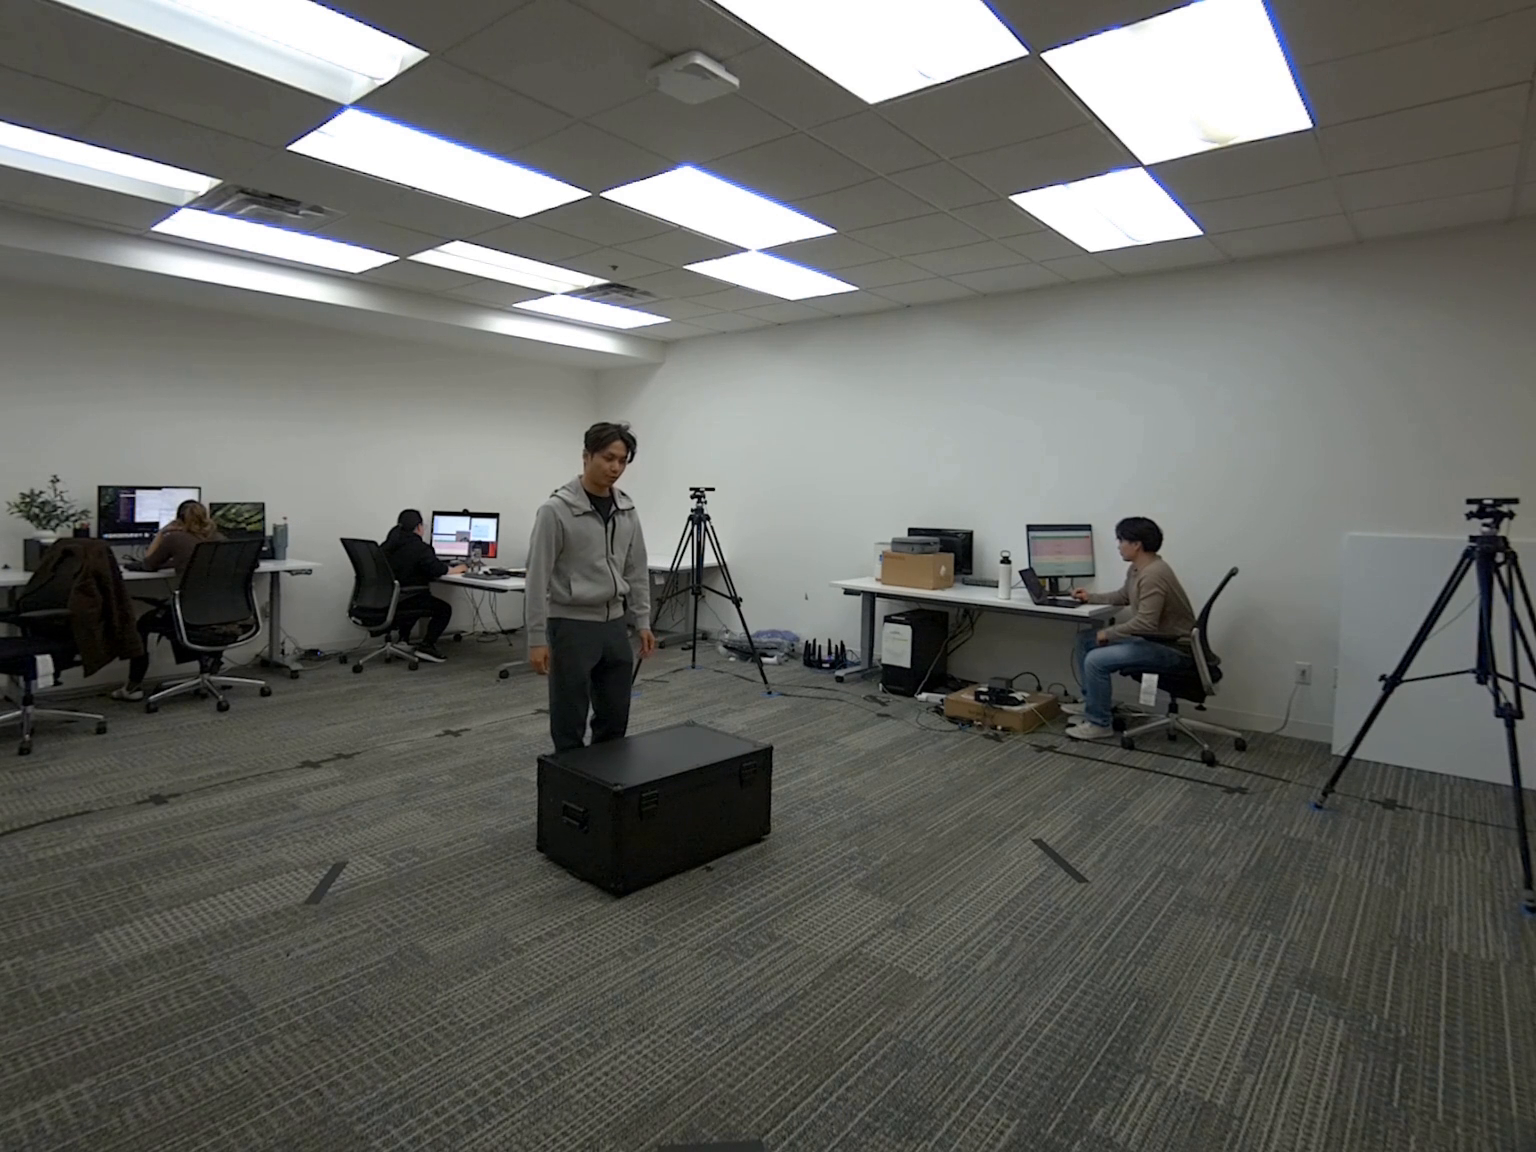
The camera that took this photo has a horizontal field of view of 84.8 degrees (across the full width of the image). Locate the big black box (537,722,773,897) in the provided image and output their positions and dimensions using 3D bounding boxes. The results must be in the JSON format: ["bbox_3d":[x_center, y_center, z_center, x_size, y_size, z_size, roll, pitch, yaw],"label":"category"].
[{"bbox_3d":[-0.408,0.855,3.292,0.539,0.395,0.836,5,7,43],"label":"big black box"}]
